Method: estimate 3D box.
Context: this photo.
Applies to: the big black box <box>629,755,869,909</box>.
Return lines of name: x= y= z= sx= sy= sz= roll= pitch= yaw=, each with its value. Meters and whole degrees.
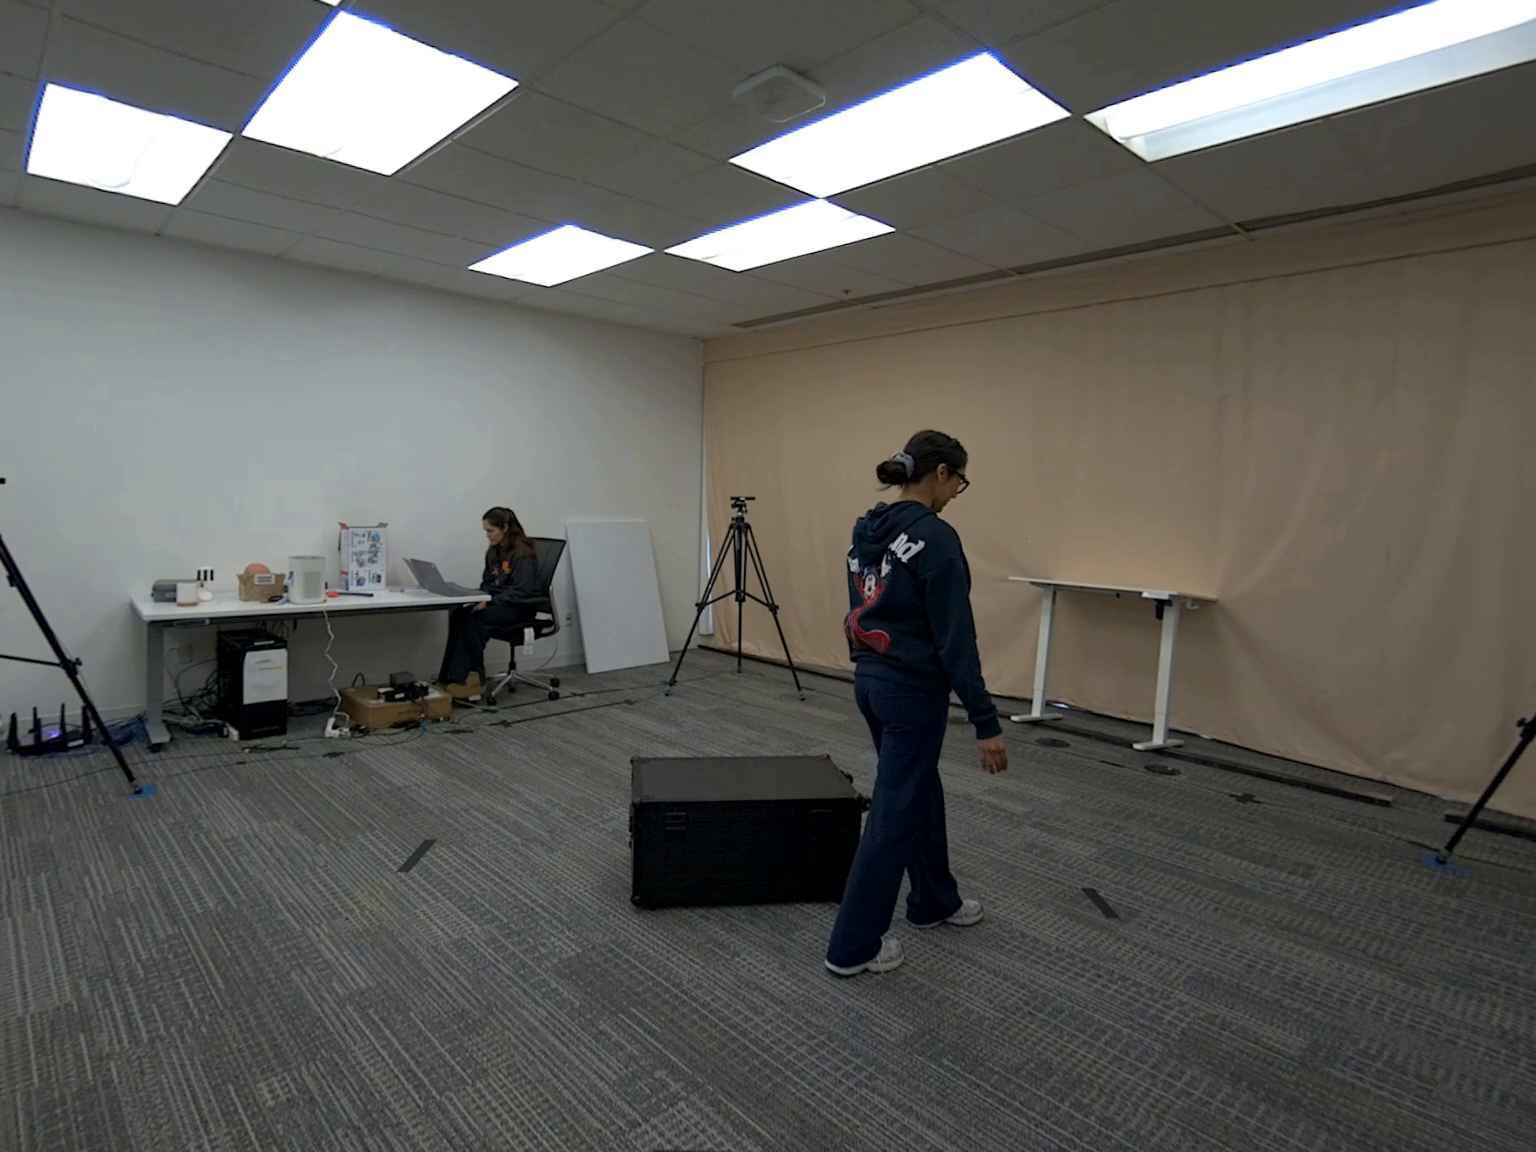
big black box: x=-0.081 y=0.920 z=3.093 sx=0.855 sy=0.395 sz=0.526 roll=1 pitch=5 yaw=-9
